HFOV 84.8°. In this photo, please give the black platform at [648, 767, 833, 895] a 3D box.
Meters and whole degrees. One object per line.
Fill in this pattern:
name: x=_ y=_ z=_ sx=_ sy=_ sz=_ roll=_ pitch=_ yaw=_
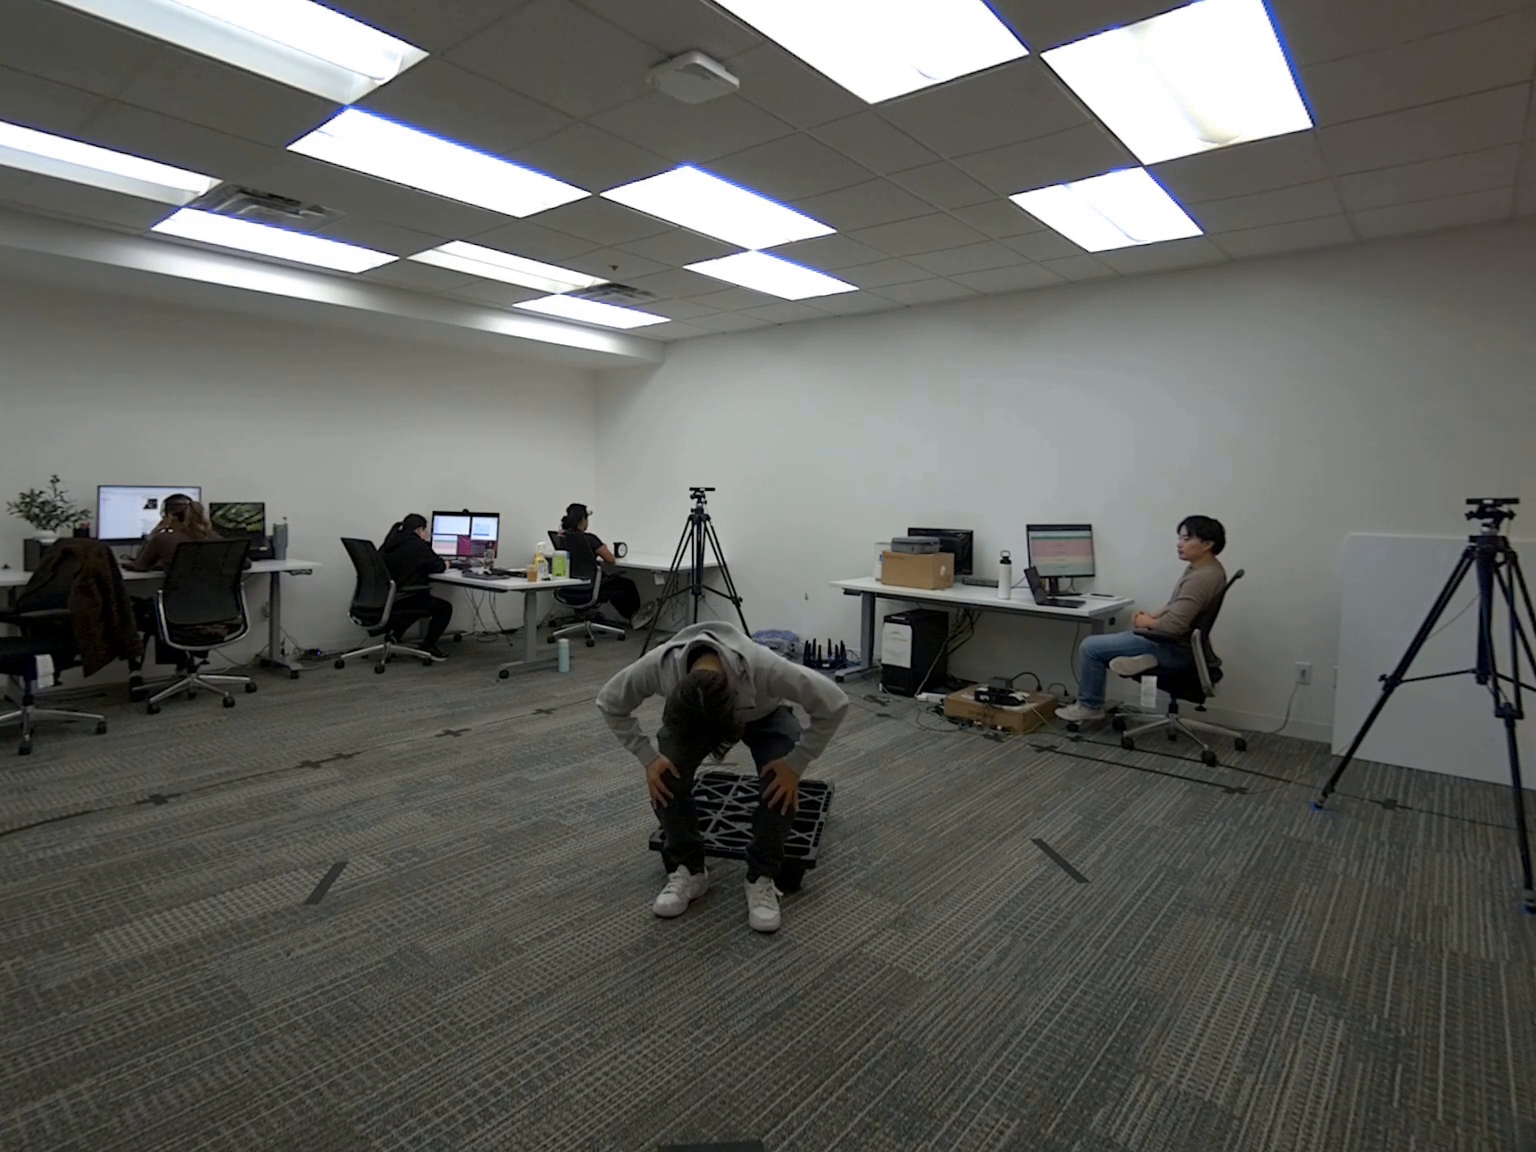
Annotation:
black platform: x=-0.083 y=0.977 z=3.343 sx=0.613 sy=0.143 sz=0.798 roll=1 pitch=5 yaw=11
